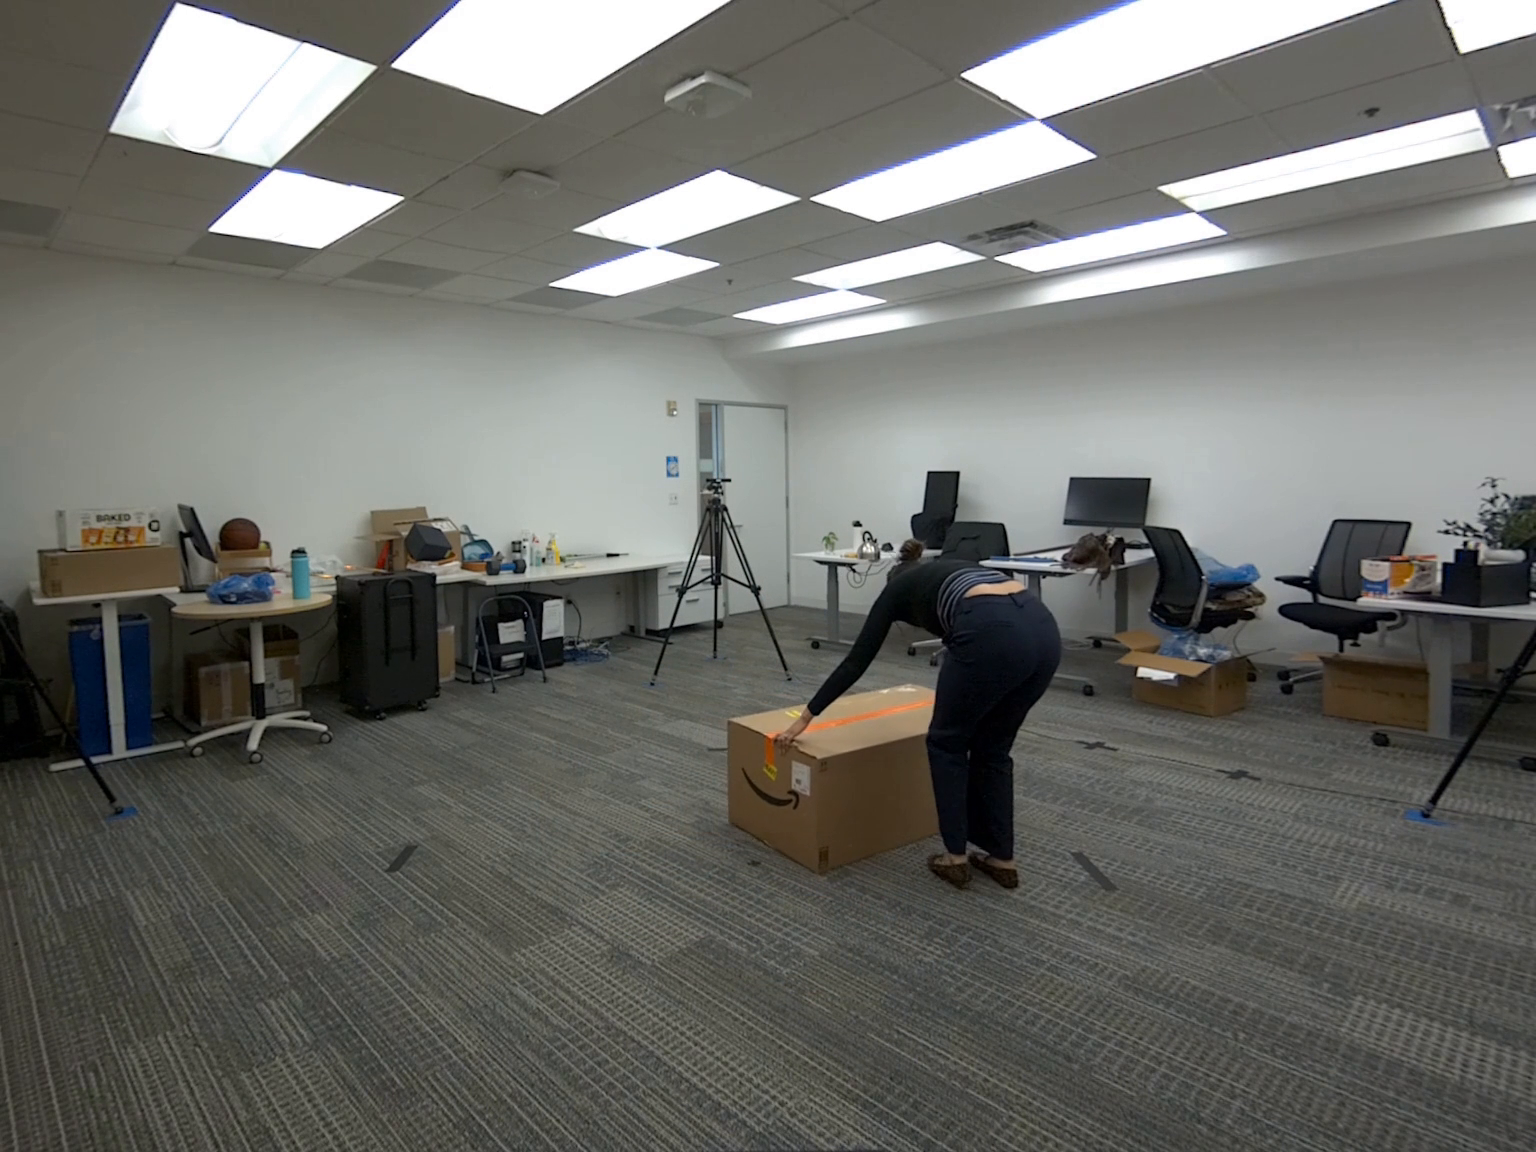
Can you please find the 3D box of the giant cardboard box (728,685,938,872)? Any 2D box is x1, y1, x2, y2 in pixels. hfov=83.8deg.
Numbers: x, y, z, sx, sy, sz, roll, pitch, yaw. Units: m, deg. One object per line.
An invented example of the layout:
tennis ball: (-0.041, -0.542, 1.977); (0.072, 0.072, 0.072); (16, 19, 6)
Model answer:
giant cardboard box: (0.412, 0.776, 3.504); (1.000, 0.424, 0.594); (-5, 7, -34)
